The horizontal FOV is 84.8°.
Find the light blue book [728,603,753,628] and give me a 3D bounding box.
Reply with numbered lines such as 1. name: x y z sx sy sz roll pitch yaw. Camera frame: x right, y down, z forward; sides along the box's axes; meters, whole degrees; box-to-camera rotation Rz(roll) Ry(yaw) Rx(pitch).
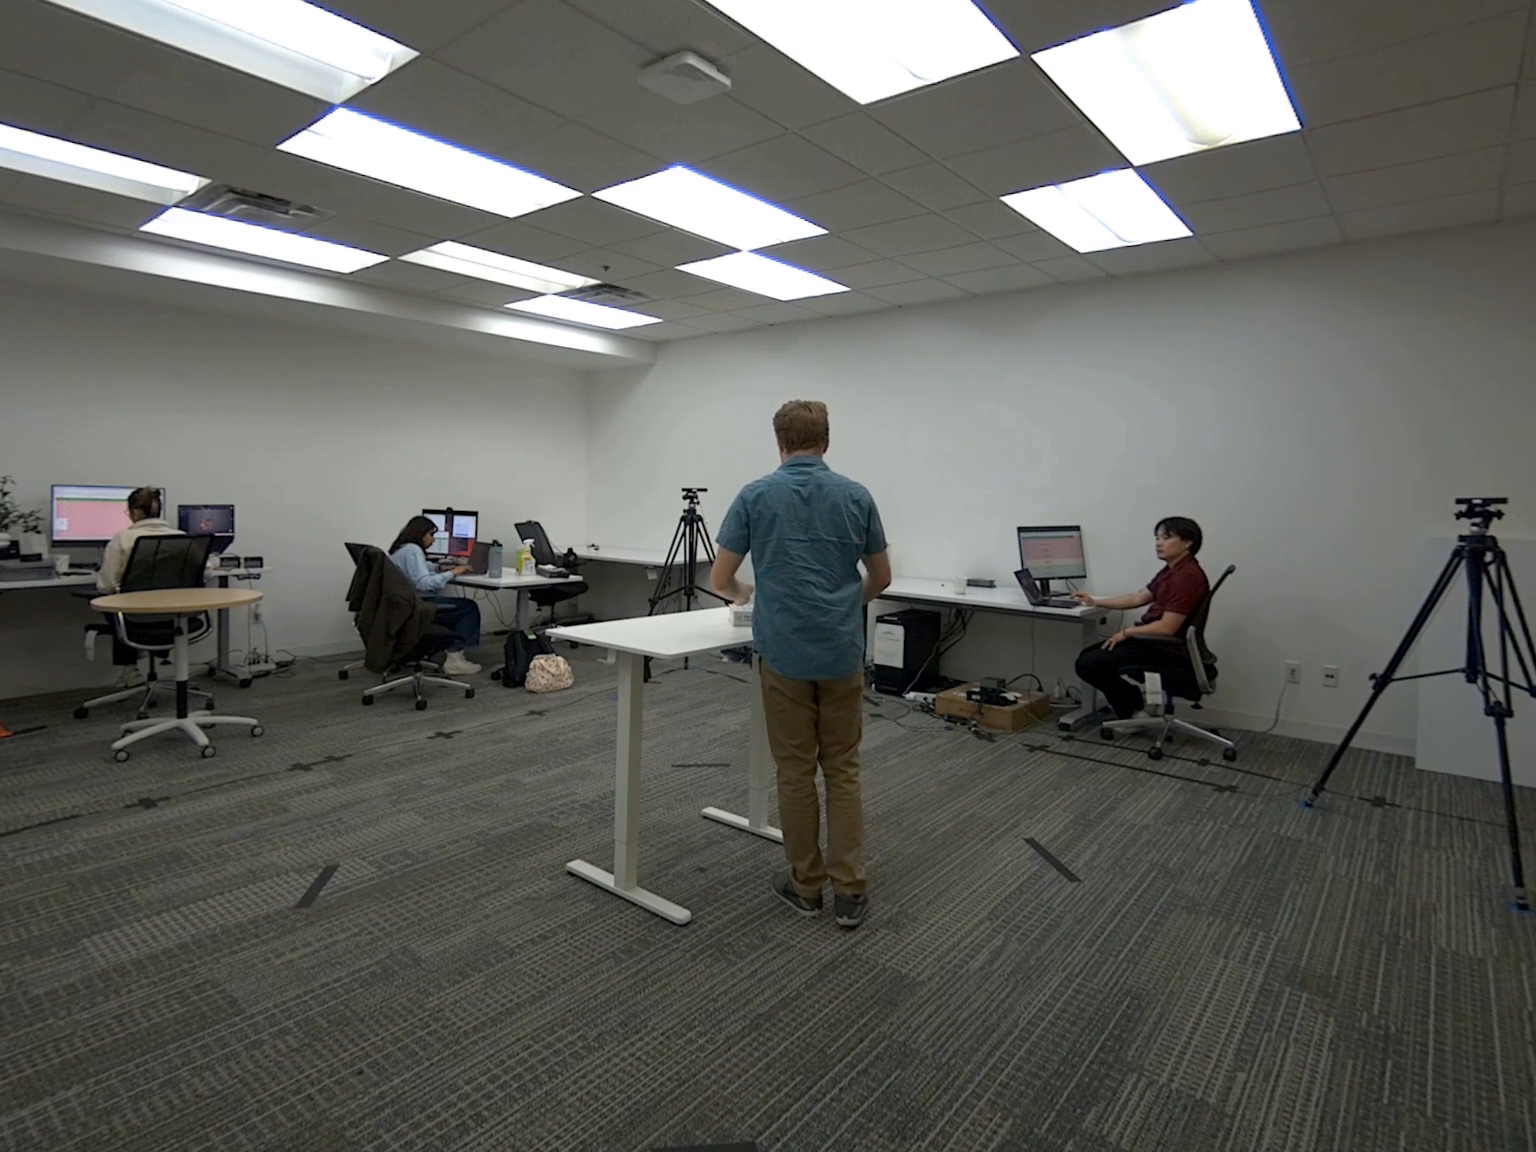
1. light blue book: -0.018 0.146 3.265 0.259 0.059 0.193 0 5 -6
